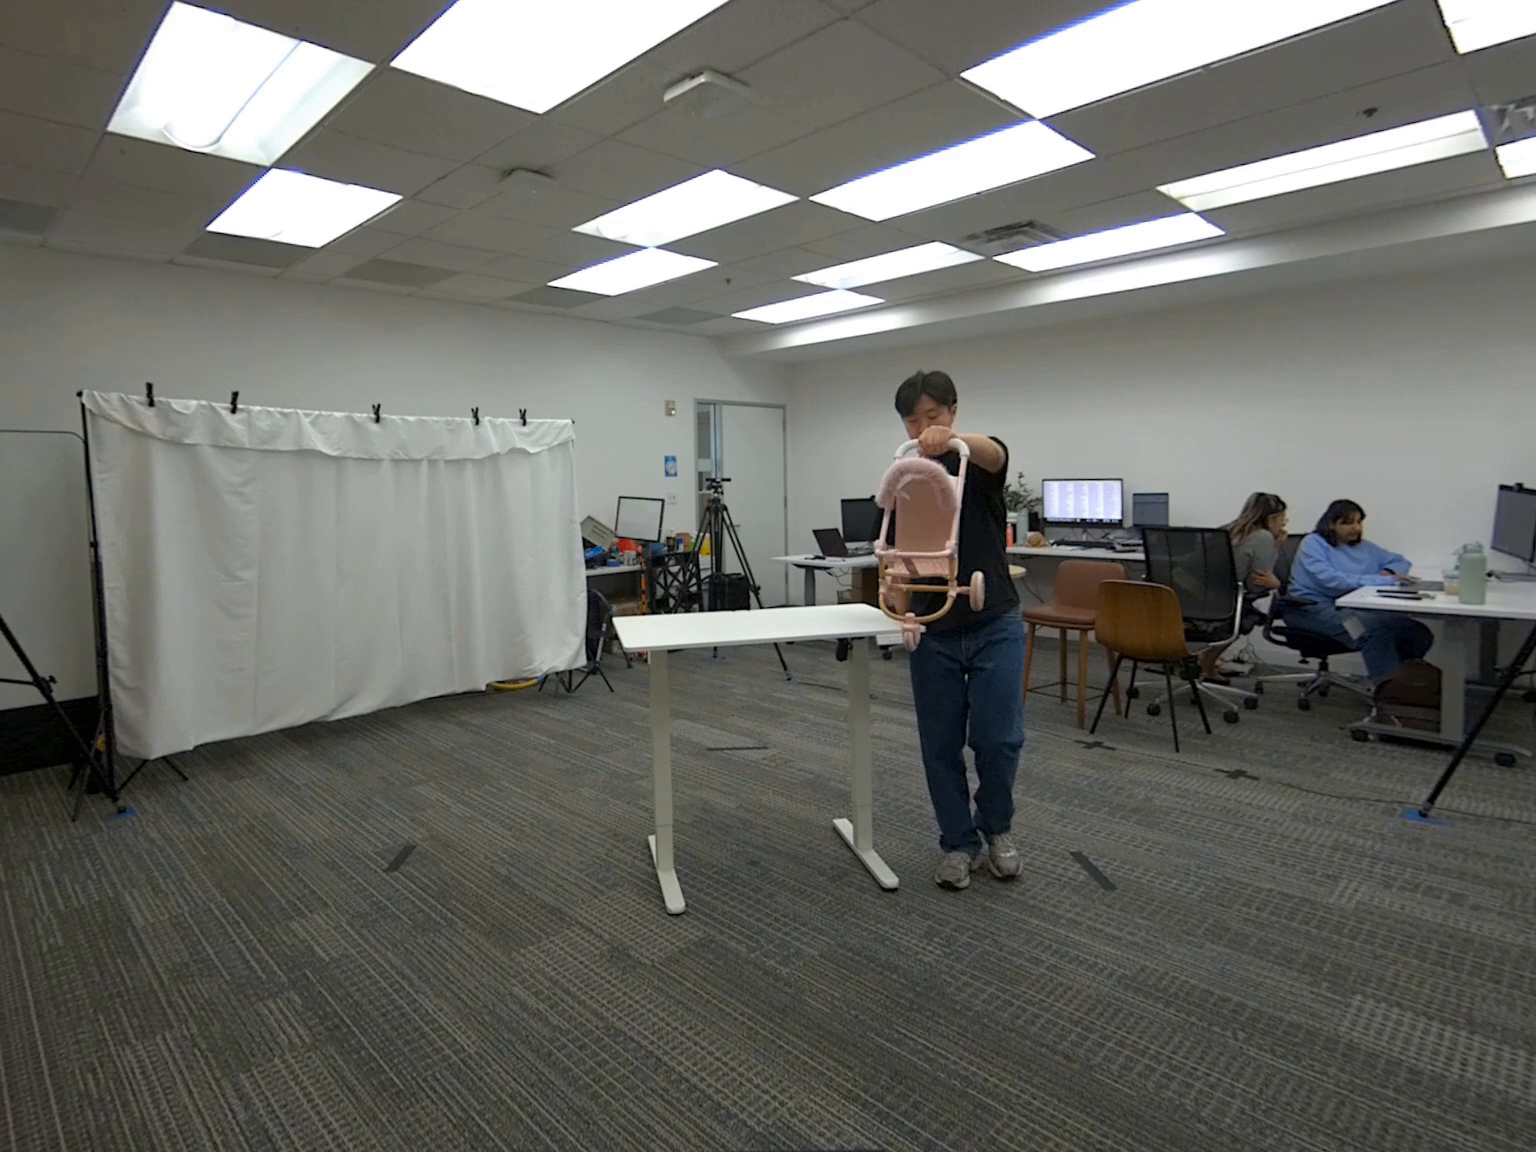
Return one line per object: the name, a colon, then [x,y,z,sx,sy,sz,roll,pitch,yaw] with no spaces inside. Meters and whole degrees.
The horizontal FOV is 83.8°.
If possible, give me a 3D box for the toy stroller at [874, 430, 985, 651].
toy stroller: [0.422,-0.087,2.320,0.289,0.530,0.336,2,12,29]
